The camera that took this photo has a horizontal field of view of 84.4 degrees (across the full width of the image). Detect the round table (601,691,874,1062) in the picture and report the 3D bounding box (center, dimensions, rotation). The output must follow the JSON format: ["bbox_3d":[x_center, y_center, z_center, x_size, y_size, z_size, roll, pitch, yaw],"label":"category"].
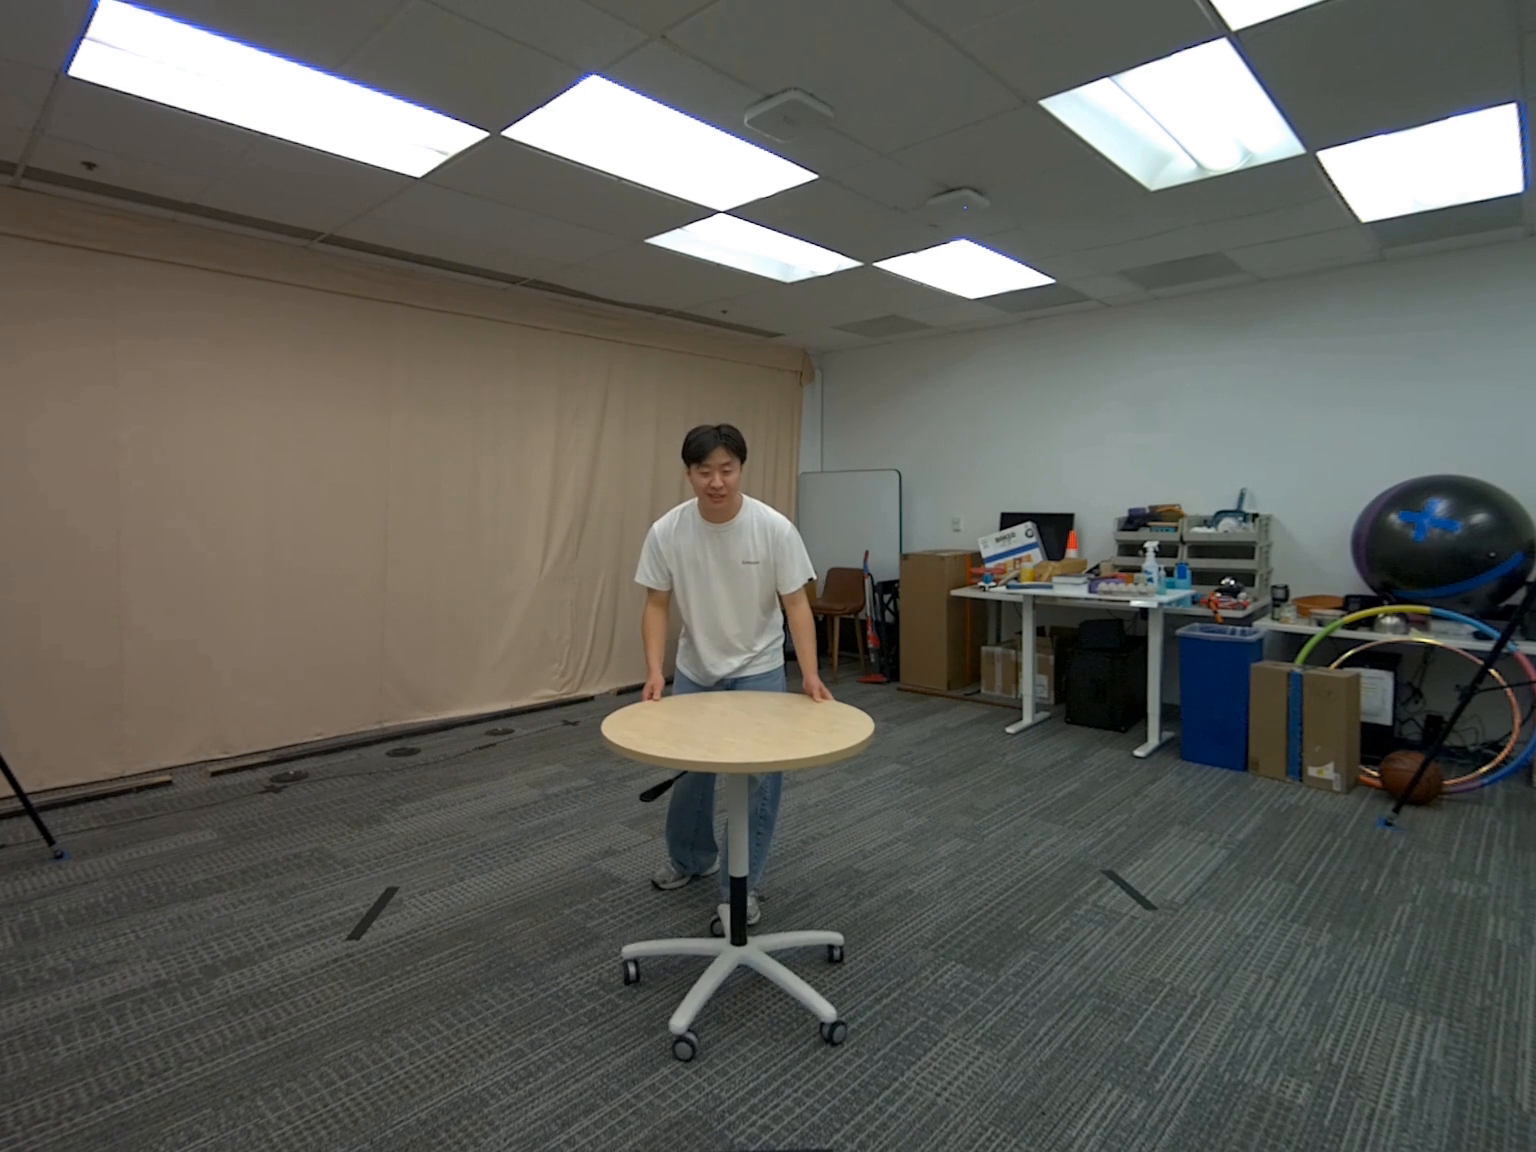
[{"bbox_3d":[-0.097,0.797,2.411,0.784,0.785,0.788,0,3,-2],"label":"round table"}]
